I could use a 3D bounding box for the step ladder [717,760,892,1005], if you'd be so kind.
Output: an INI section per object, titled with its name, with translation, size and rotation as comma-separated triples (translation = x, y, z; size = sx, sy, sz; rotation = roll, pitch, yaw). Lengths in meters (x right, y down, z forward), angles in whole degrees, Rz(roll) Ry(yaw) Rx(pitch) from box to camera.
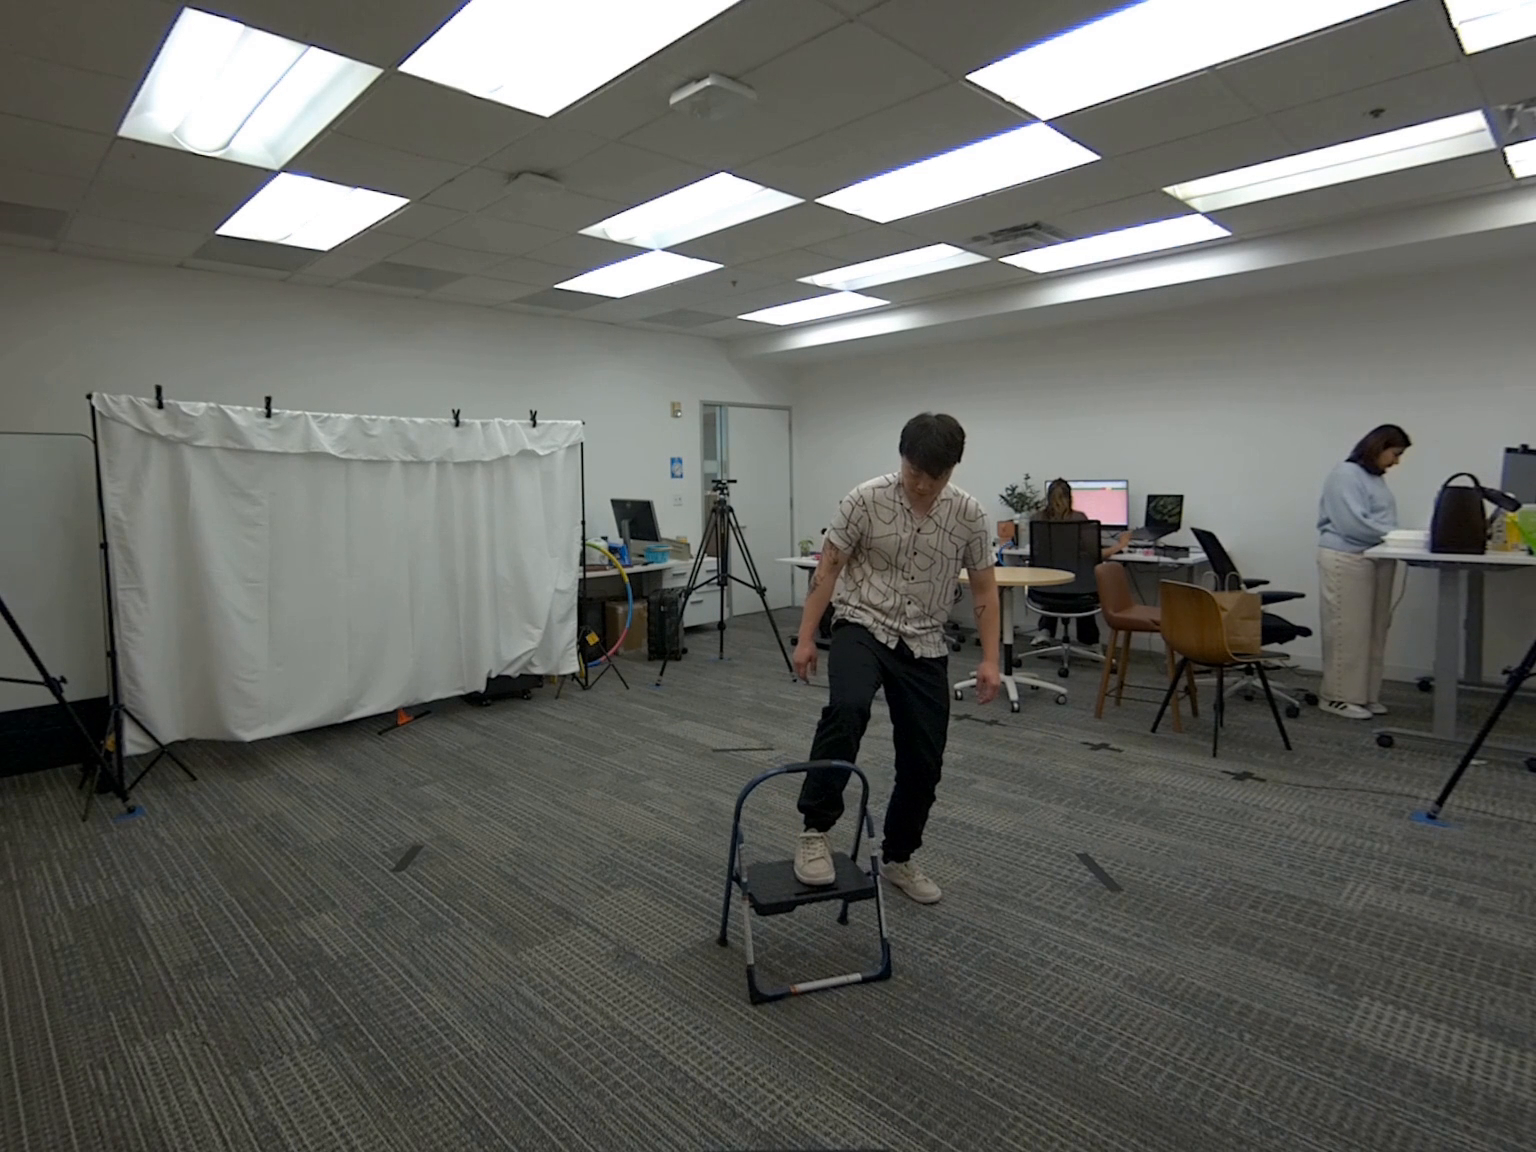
[step ladder]
translation = 0.098, 0.817, 2.468
size = 0.424, 0.603, 0.356
rotation = -3, 5, -18
